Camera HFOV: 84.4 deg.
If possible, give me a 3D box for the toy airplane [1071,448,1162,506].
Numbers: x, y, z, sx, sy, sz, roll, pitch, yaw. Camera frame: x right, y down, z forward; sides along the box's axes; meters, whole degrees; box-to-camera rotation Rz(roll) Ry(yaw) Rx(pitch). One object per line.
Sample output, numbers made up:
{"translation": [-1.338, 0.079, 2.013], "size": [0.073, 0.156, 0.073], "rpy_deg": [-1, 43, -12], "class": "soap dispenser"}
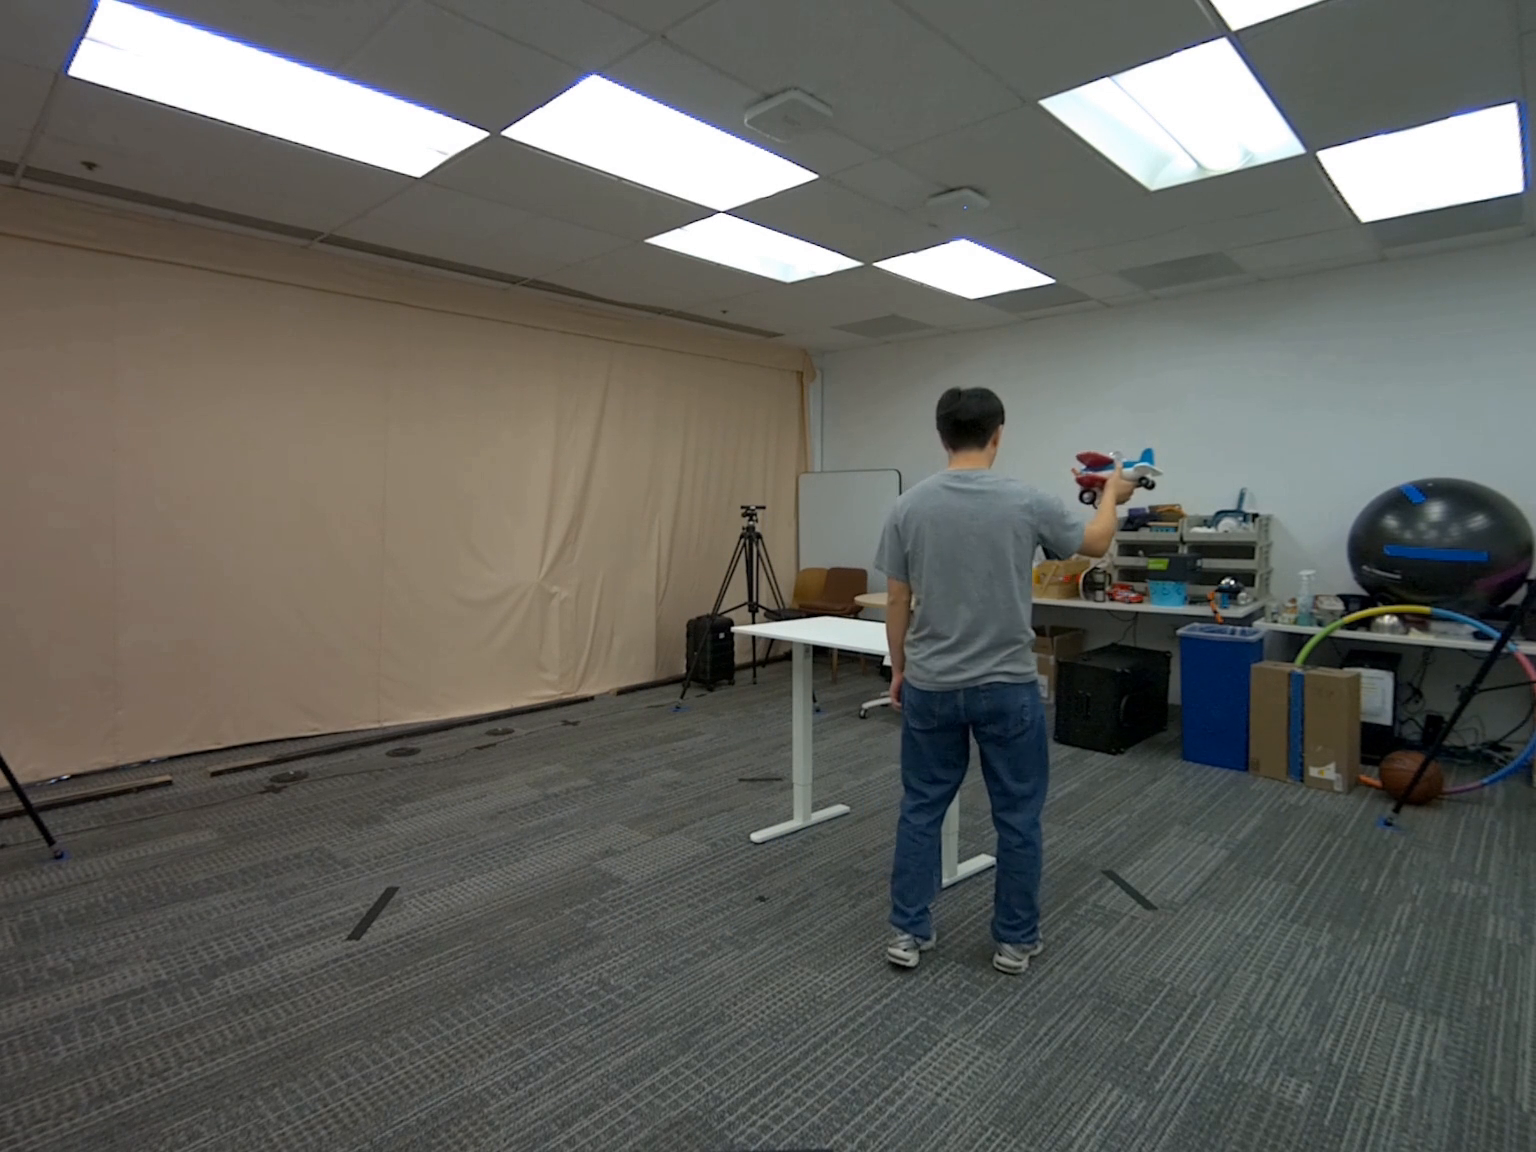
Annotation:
{"translation": [1.156, -0.319, 2.791], "size": [0.264, 0.158, 0.243], "rpy_deg": [-11, -24, 22], "class": "toy airplane"}
